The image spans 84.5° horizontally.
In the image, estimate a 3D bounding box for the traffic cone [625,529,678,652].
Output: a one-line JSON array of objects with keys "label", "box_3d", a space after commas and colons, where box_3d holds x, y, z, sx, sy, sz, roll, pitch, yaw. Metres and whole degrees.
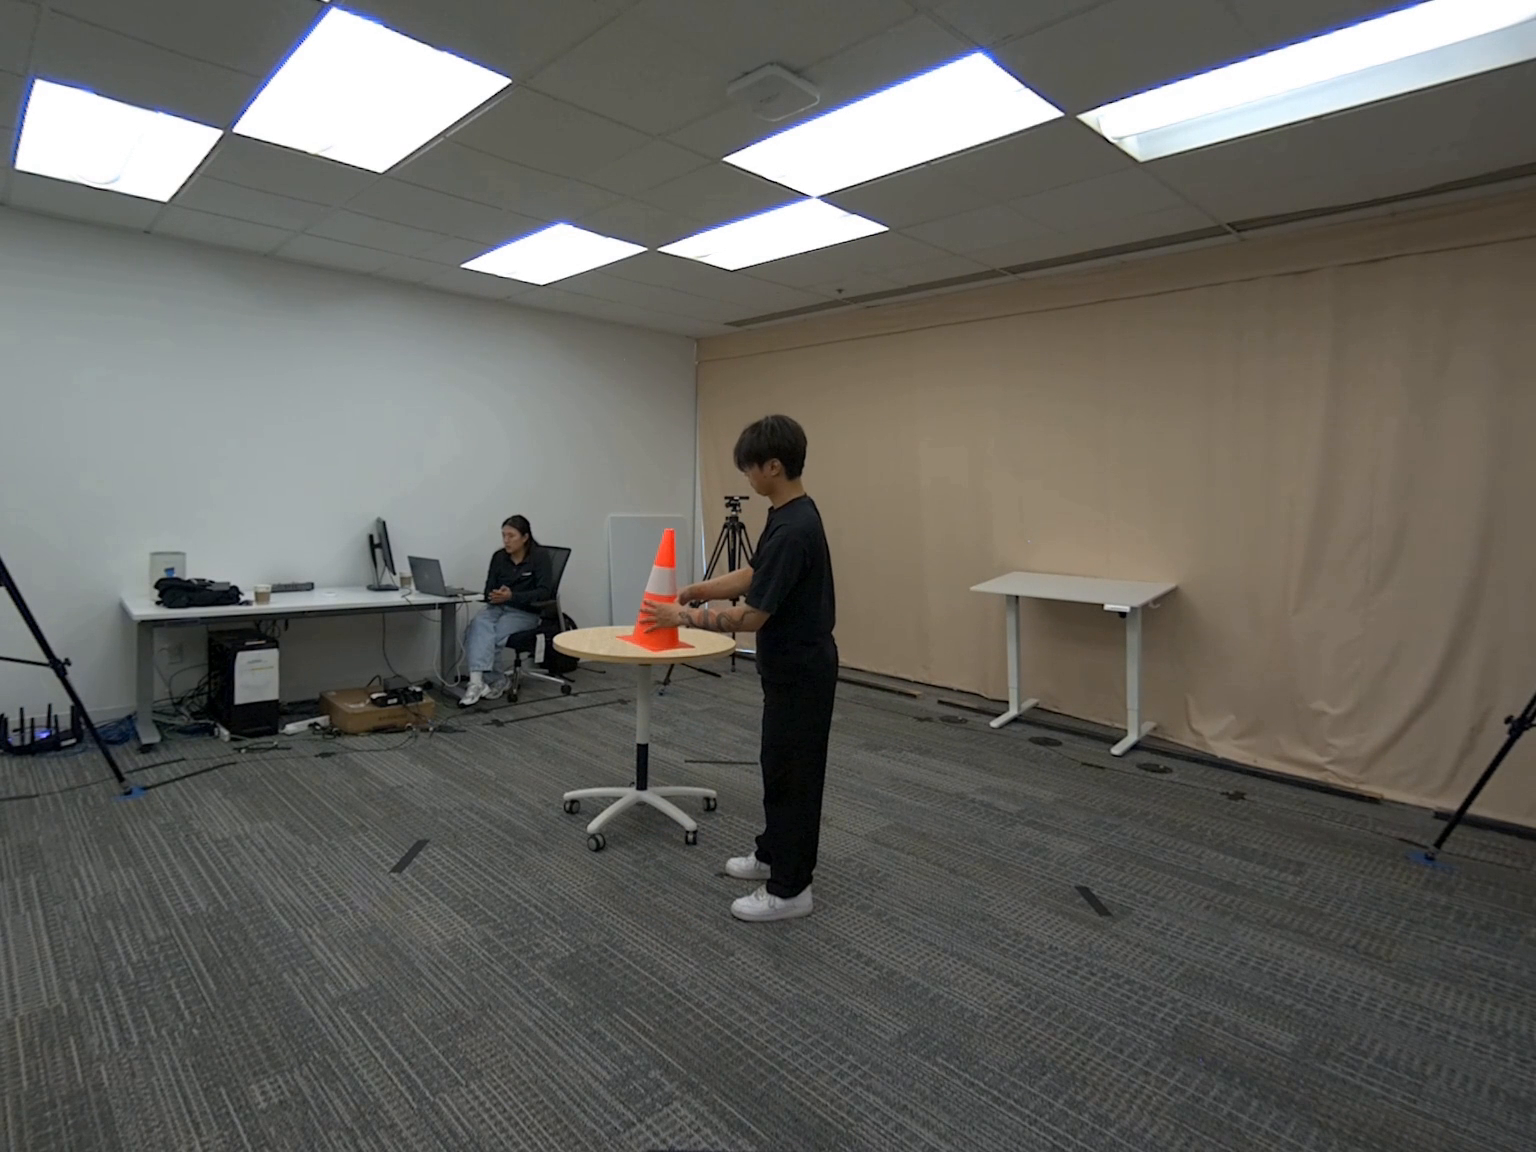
[{"label": "traffic cone", "box_3d": [-0.355, 0.033, 2.794, 0.210, 0.383, 0.199, 8, 2, 32]}]
